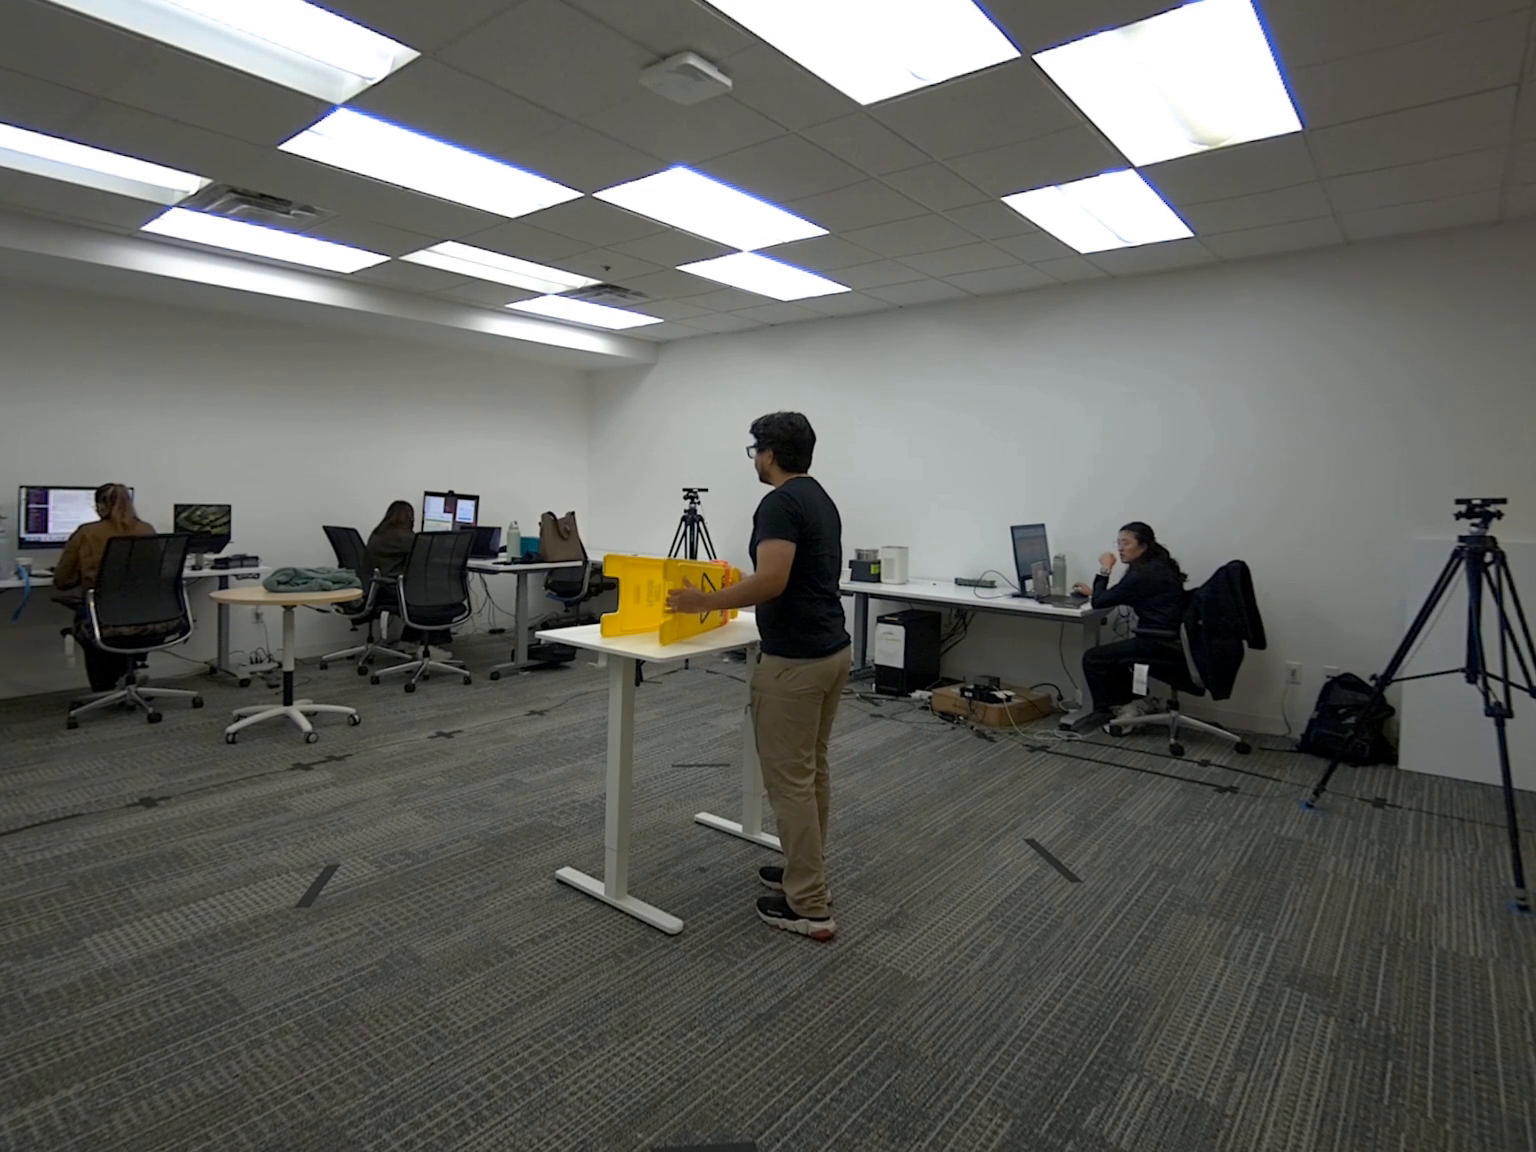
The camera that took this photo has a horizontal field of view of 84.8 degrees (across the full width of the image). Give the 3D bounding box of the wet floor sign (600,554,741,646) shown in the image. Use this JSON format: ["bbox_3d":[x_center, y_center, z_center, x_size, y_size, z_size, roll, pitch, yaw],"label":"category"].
[{"bbox_3d":[-0.293,0.066,3.033,0.298,0.282,0.627,4,2,31],"label":"wet floor sign"}]
